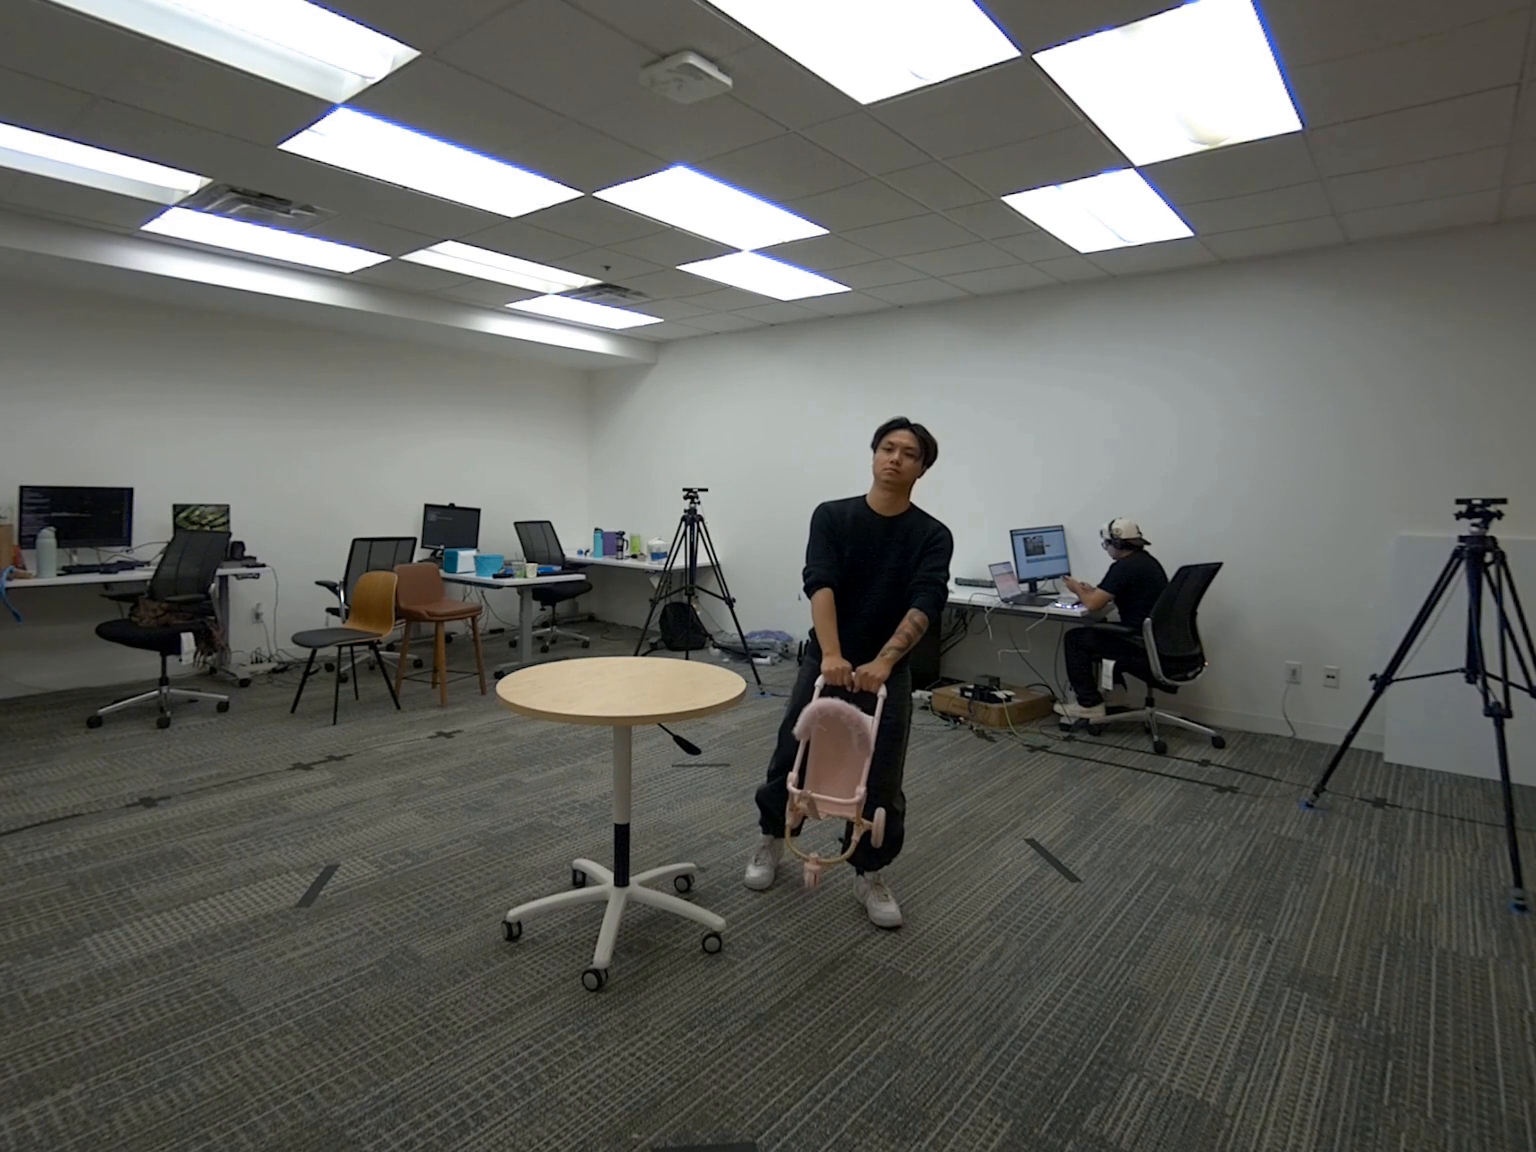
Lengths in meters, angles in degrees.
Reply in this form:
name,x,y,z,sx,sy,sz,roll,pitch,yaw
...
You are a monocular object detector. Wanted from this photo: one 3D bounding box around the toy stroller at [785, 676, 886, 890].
name,x,y,z,sx,sy,sz,roll,pitch,yaw
toy stroller,0.171,0.557,2.376,0.289,0.533,0.334,6,5,24
